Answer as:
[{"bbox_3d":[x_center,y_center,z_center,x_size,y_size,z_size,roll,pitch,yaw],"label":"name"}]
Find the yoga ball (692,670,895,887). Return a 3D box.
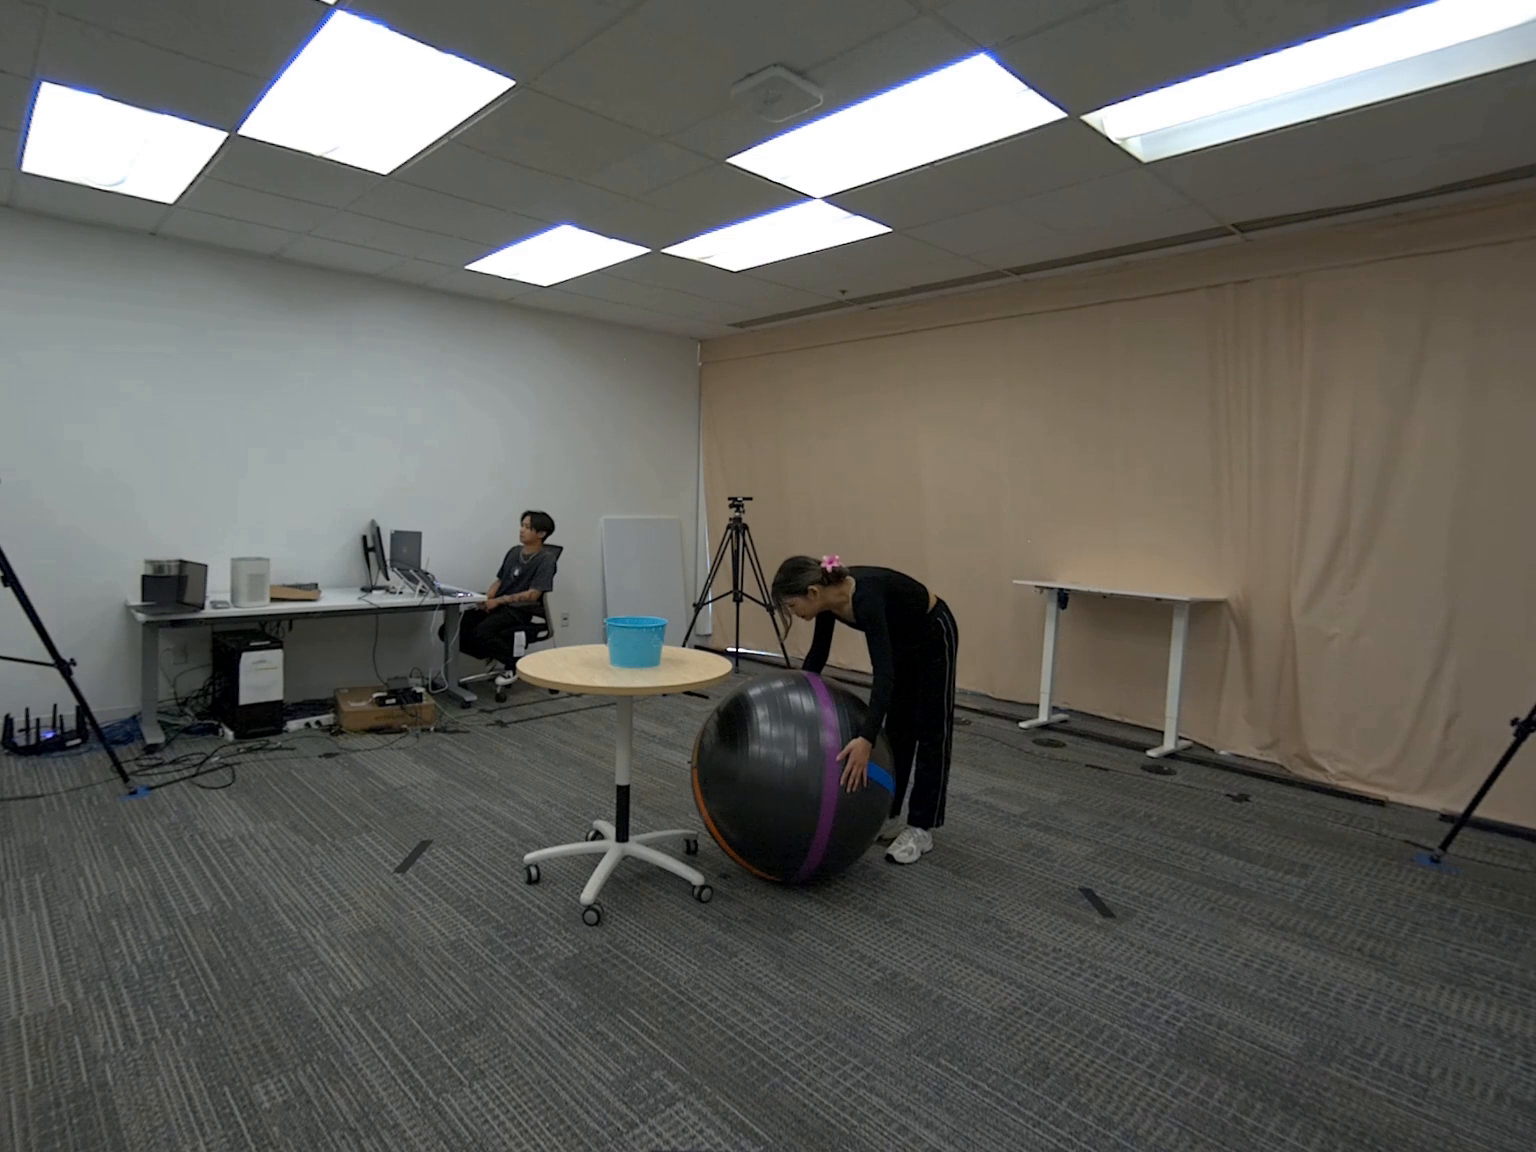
[{"bbox_3d":[0.090,0.742,3.144,0.757,0.756,0.761,1,4,-1],"label":"yoga ball"}]
